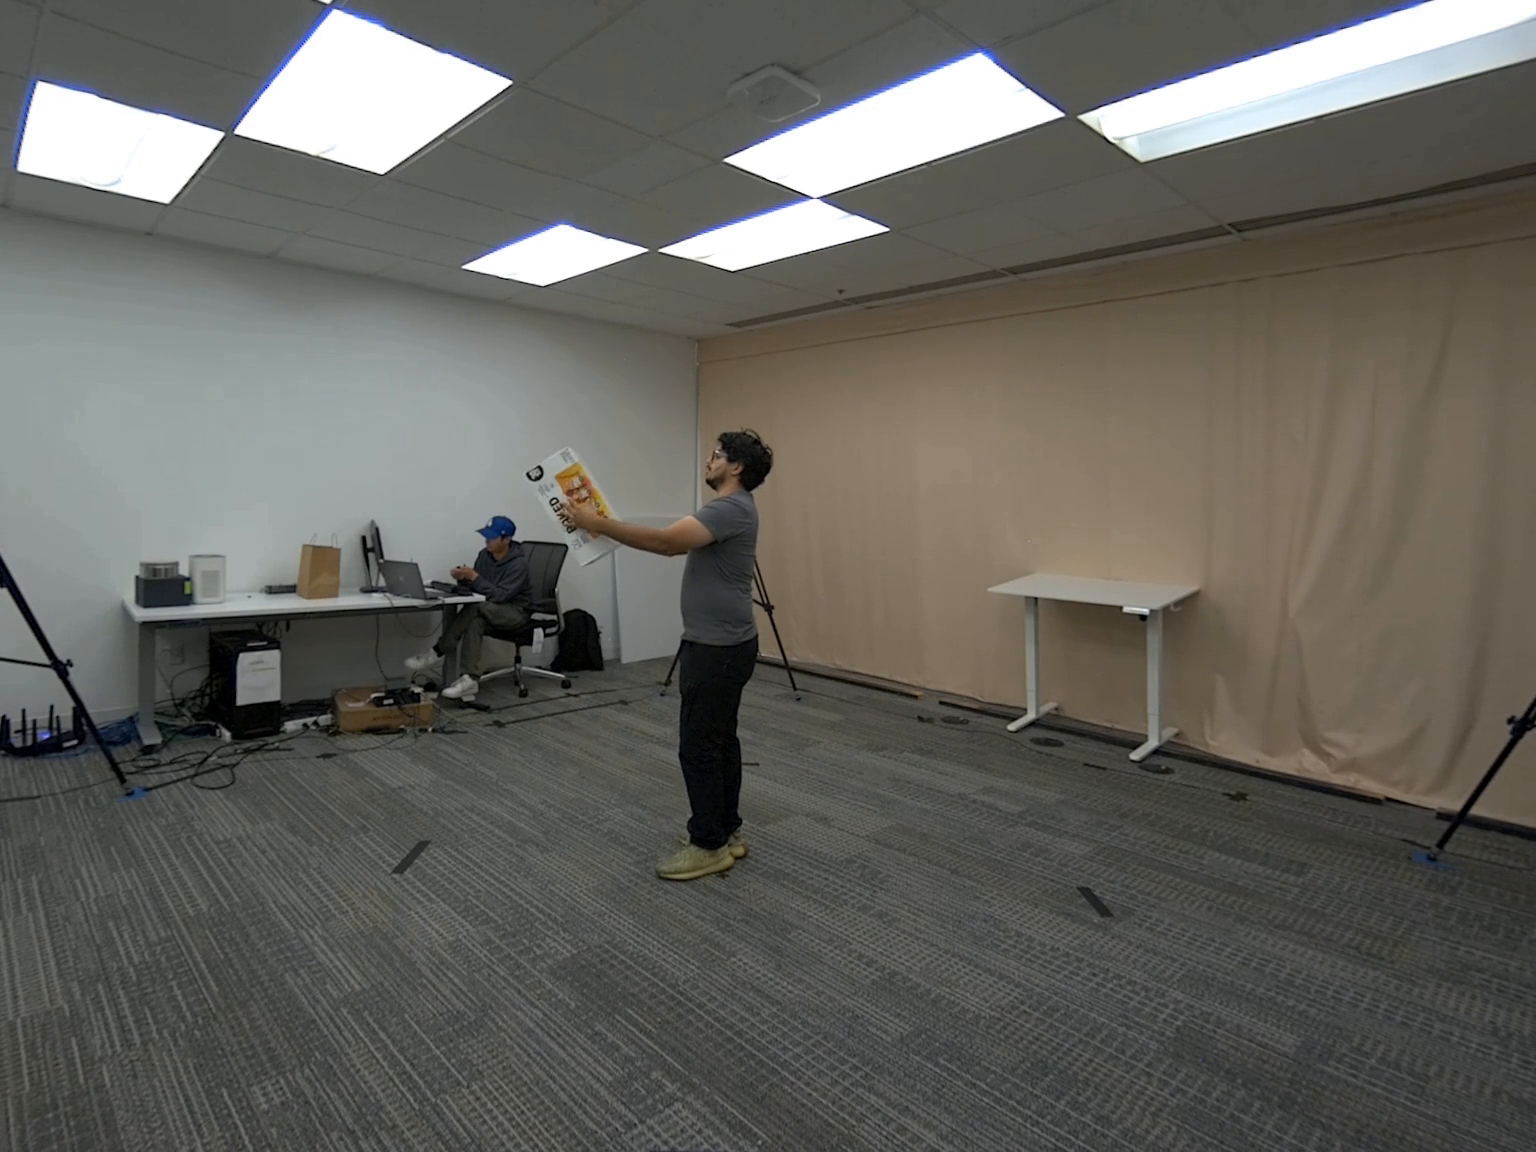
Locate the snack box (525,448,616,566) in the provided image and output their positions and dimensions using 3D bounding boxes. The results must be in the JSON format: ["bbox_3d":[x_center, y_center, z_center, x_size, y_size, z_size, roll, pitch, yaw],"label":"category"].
[{"bbox_3d":[-0.740,-0.268,3.272,0.205,0.403,0.342,-32,5,-4],"label":"snack box"}]
